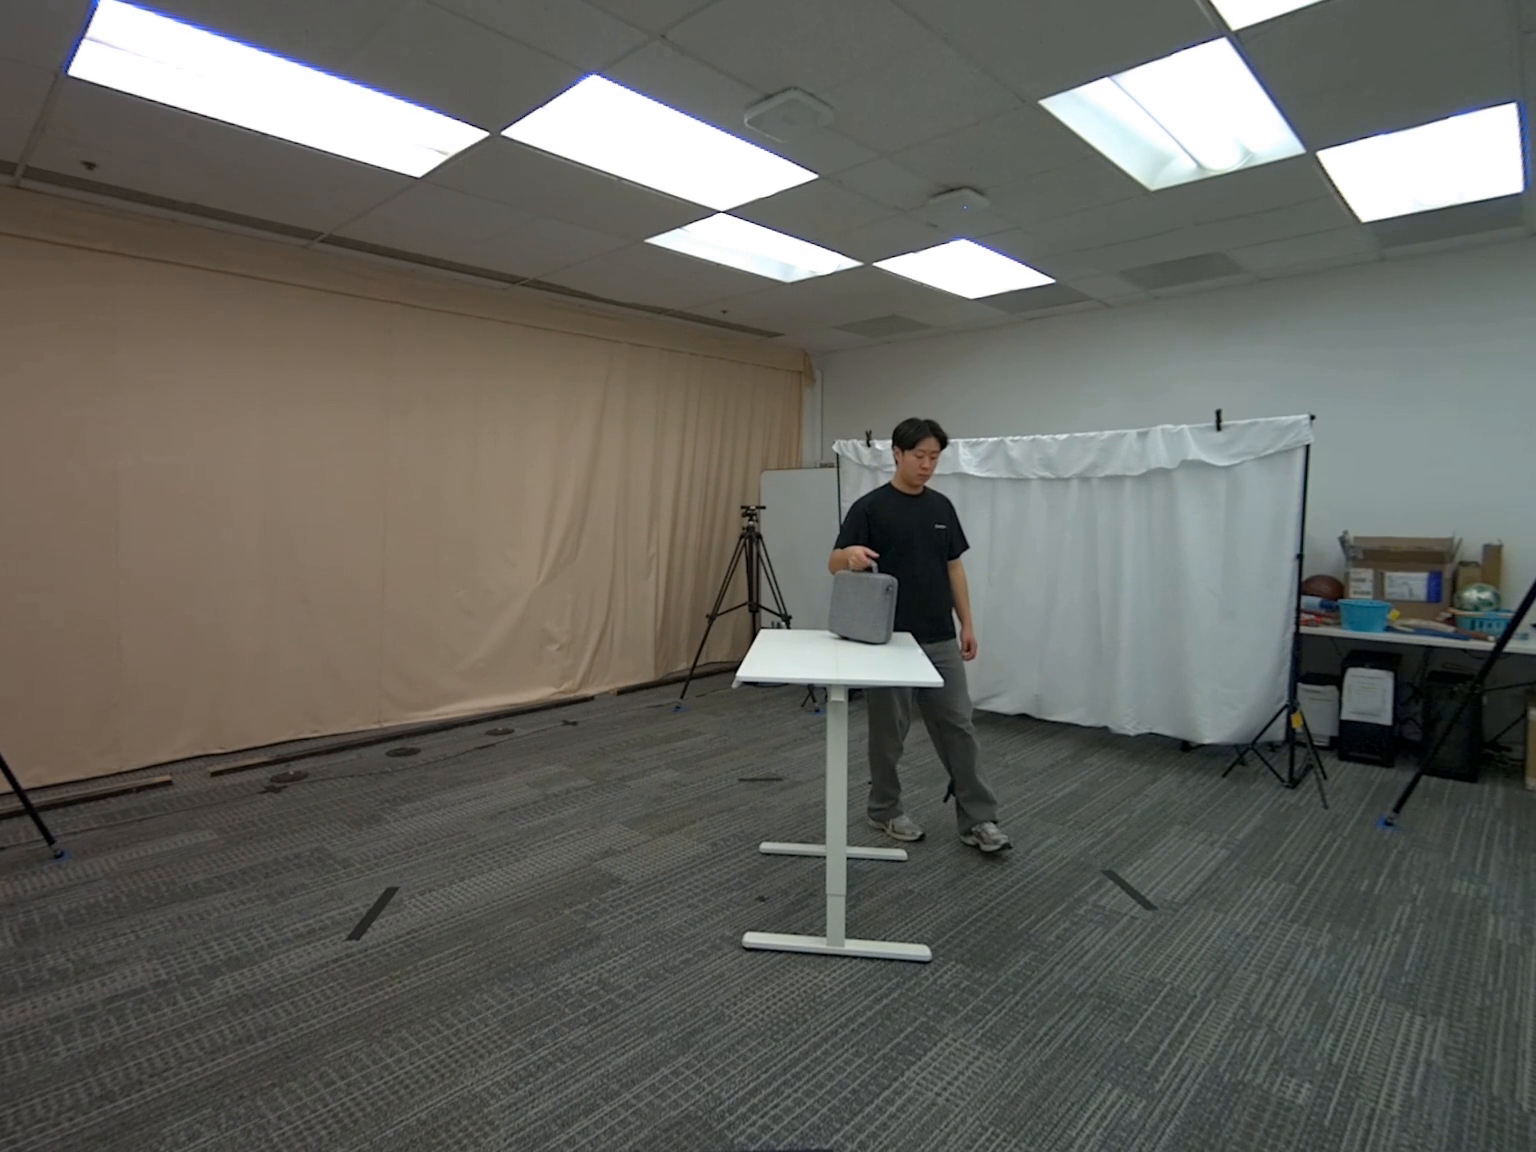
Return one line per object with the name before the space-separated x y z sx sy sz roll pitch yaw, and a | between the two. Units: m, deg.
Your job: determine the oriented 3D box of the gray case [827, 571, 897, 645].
gray case | 0.363 0.101 3.168 0.100 0.287 0.272 4 2 -41
